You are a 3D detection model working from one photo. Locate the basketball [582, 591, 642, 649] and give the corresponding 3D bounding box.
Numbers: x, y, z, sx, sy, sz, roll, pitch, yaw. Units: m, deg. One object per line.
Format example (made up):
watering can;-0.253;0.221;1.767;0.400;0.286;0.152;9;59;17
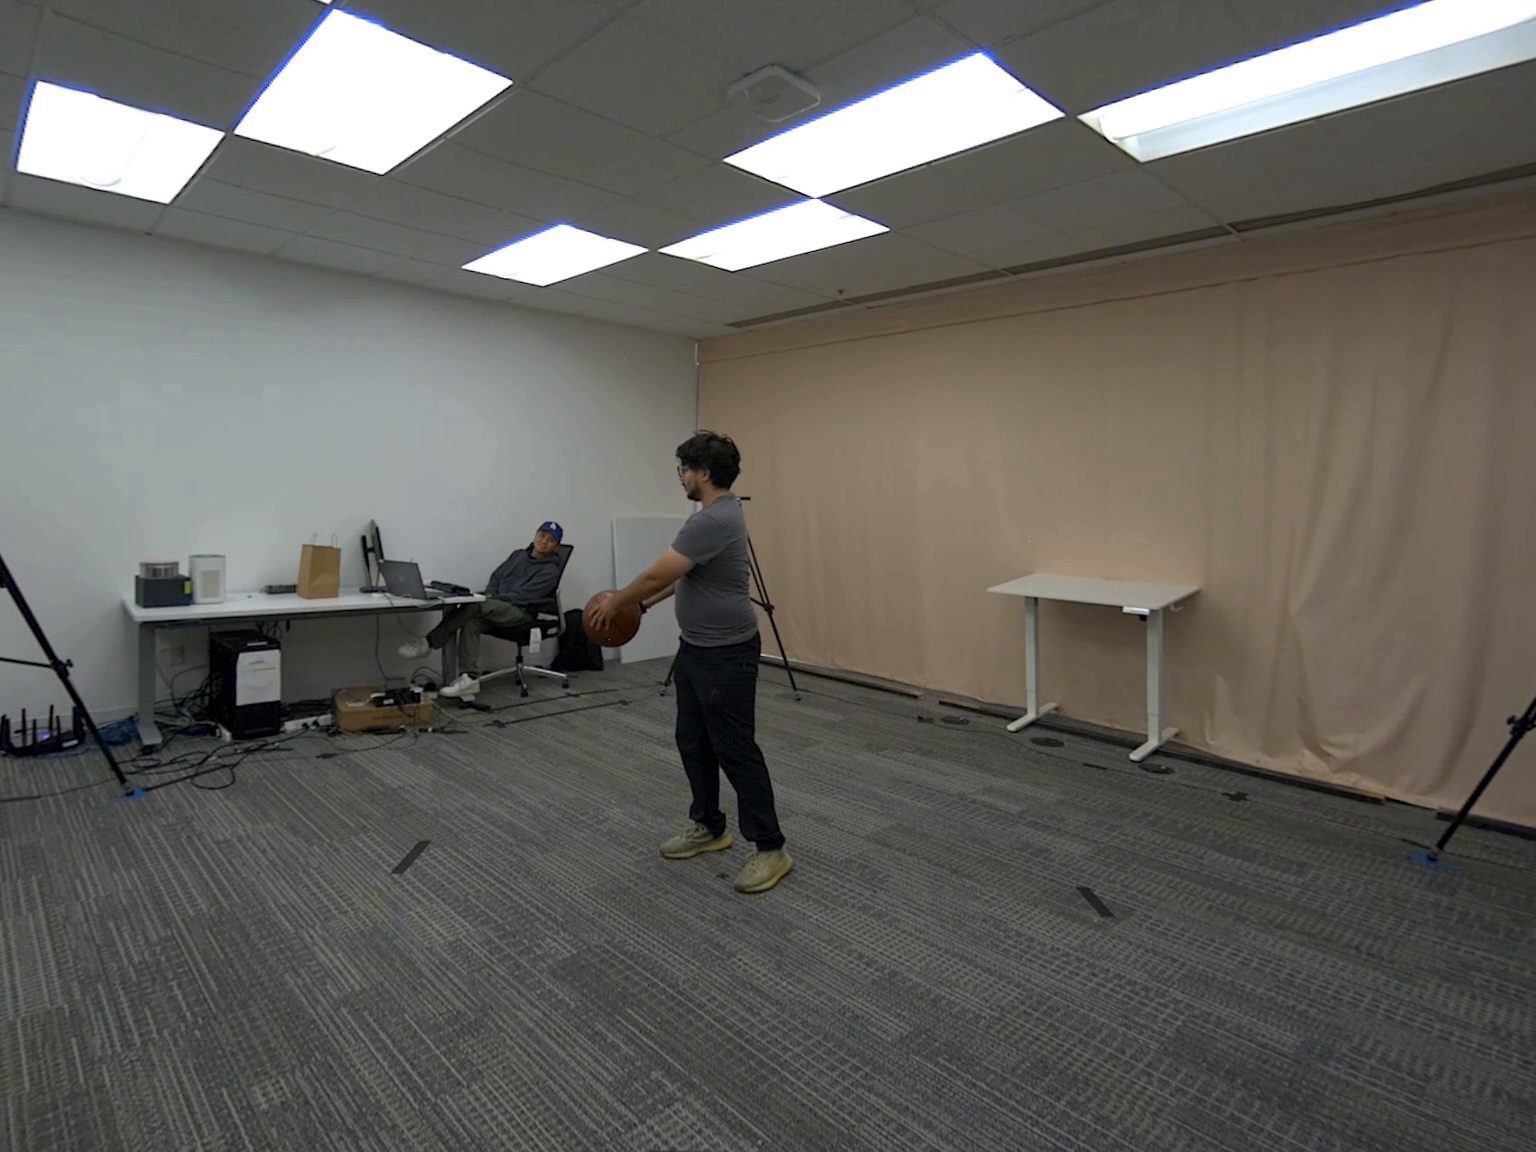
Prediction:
basketball;-0.643;0.179;3.457;0.236;0.235;0.237;1;4;-1
